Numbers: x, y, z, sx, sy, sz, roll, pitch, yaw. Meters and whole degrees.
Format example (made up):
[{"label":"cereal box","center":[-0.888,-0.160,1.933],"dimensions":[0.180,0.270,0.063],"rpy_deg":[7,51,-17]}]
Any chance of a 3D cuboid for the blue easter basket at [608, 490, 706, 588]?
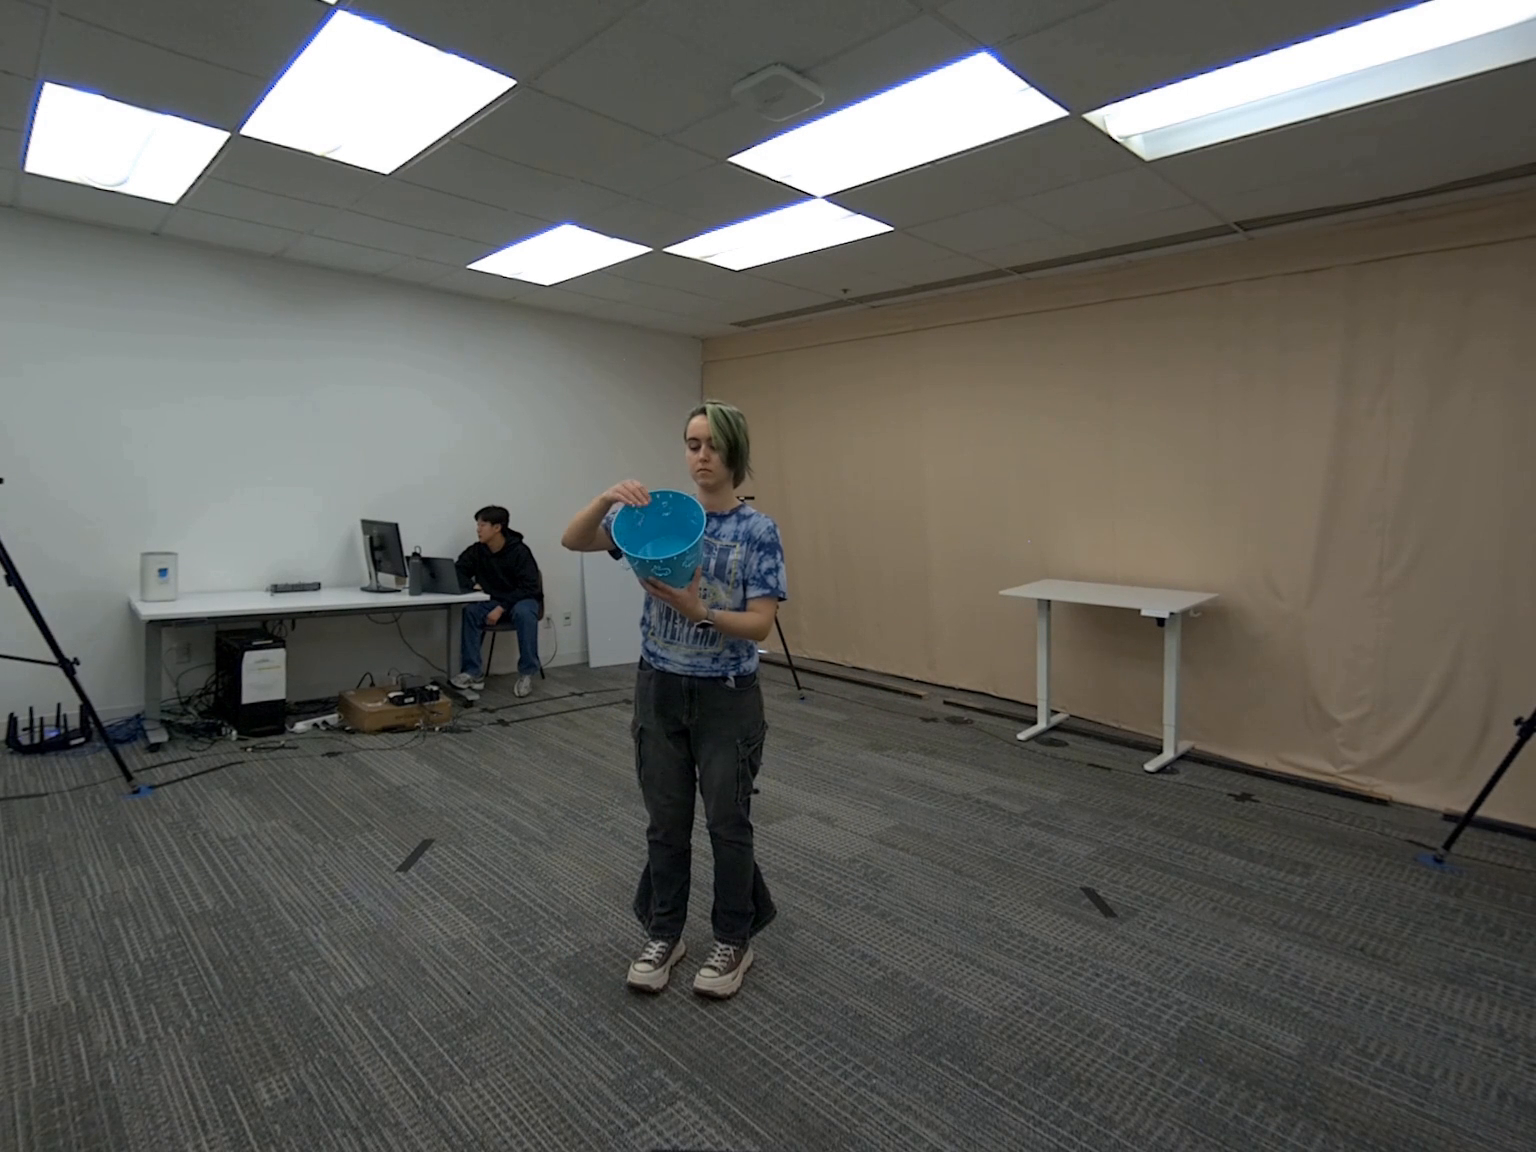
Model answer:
[{"label":"blue easter basket","center":[-0.277,-0.085,2.100],"dimensions":[0.246,0.247,0.152],"rpy_deg":[2,-39,13]}]
